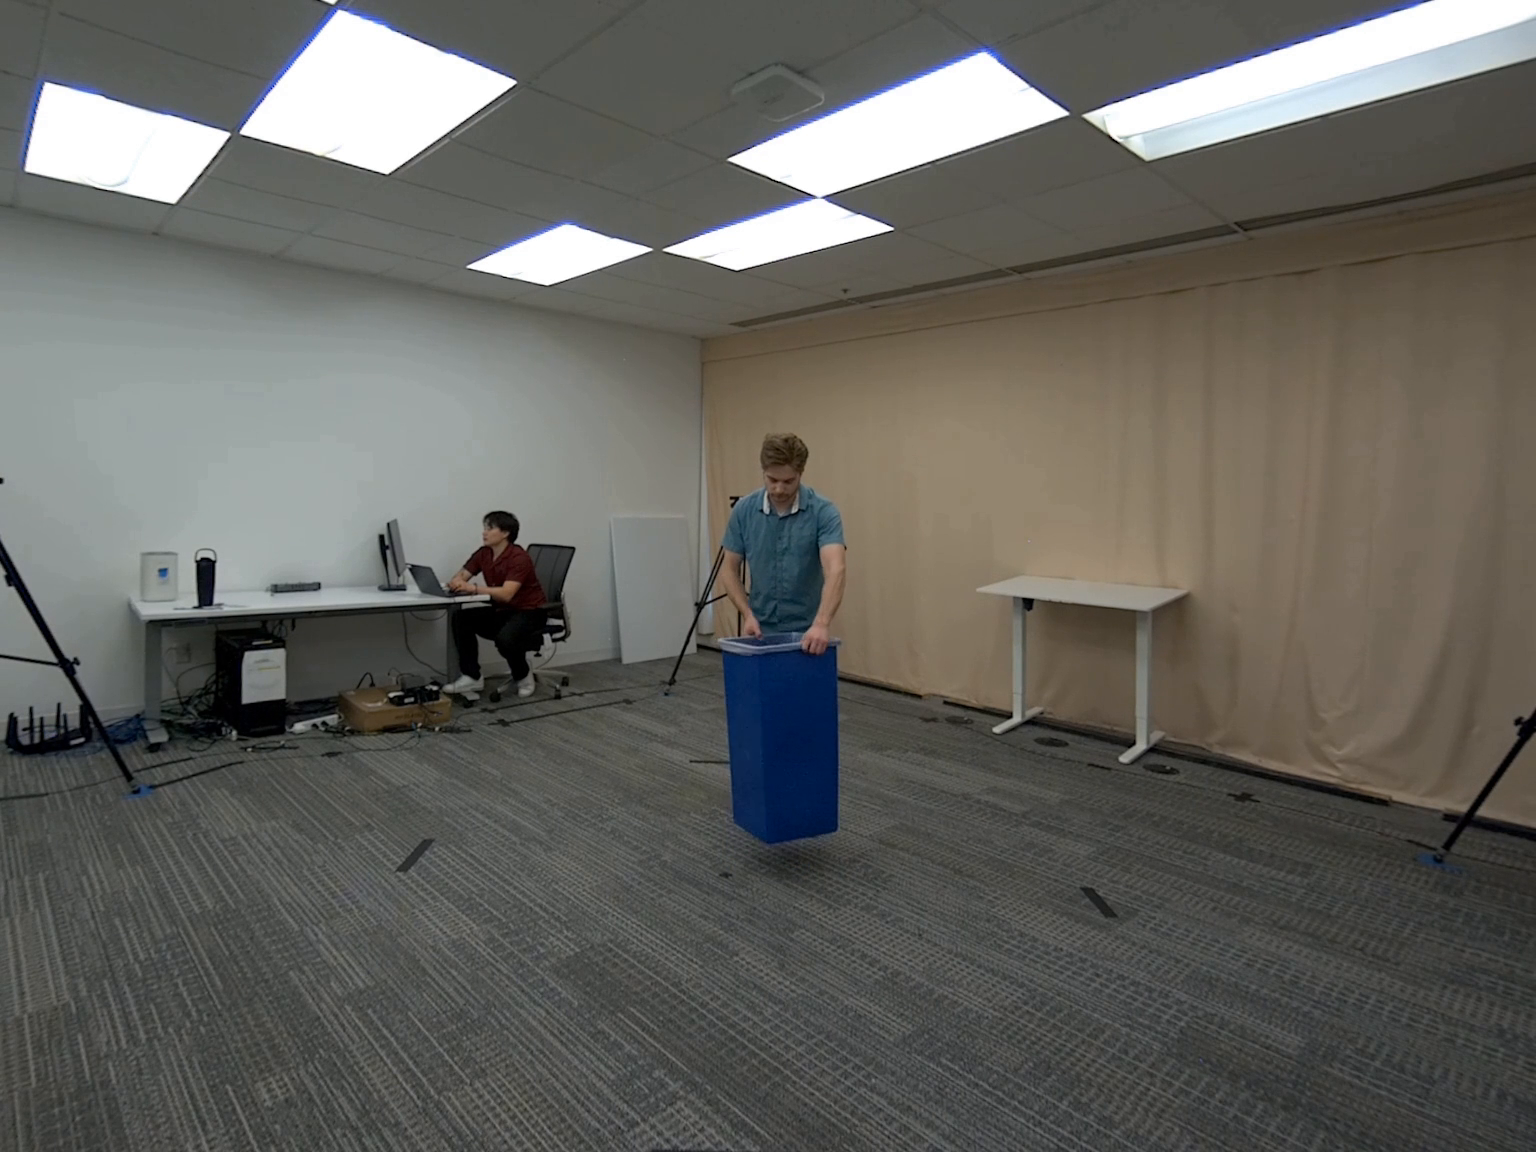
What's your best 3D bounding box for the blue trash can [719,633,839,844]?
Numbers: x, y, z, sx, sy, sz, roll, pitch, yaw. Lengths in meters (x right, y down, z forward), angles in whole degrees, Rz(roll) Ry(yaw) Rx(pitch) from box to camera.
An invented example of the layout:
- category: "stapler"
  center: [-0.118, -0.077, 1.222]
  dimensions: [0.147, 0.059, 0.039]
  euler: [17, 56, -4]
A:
- category: "blue trash can"
  center: [0.033, 0.601, 3.210]
  dimensions: [0.371, 0.714, 0.381]
  euler: [-3, 0, -28]
